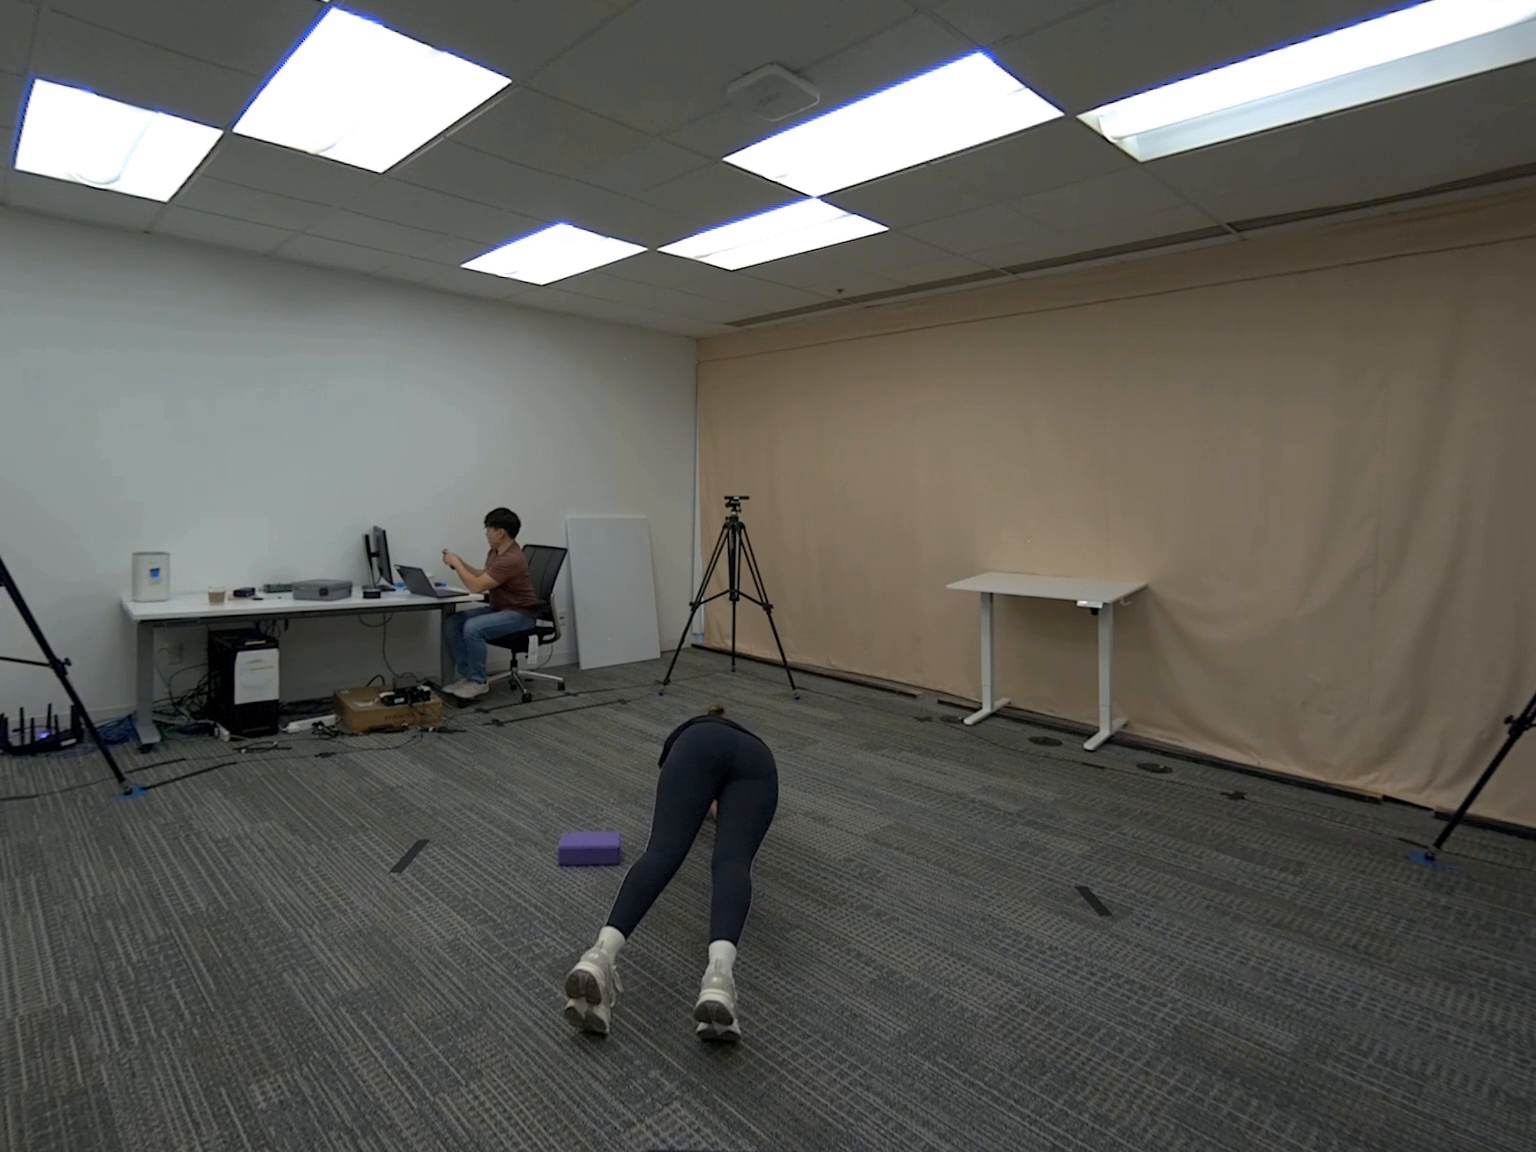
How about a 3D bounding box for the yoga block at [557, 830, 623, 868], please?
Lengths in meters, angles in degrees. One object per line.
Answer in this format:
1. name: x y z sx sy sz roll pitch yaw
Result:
1. yoga block: -0.688 1.038 3.217 0.228 0.076 0.150 2 5 -7
